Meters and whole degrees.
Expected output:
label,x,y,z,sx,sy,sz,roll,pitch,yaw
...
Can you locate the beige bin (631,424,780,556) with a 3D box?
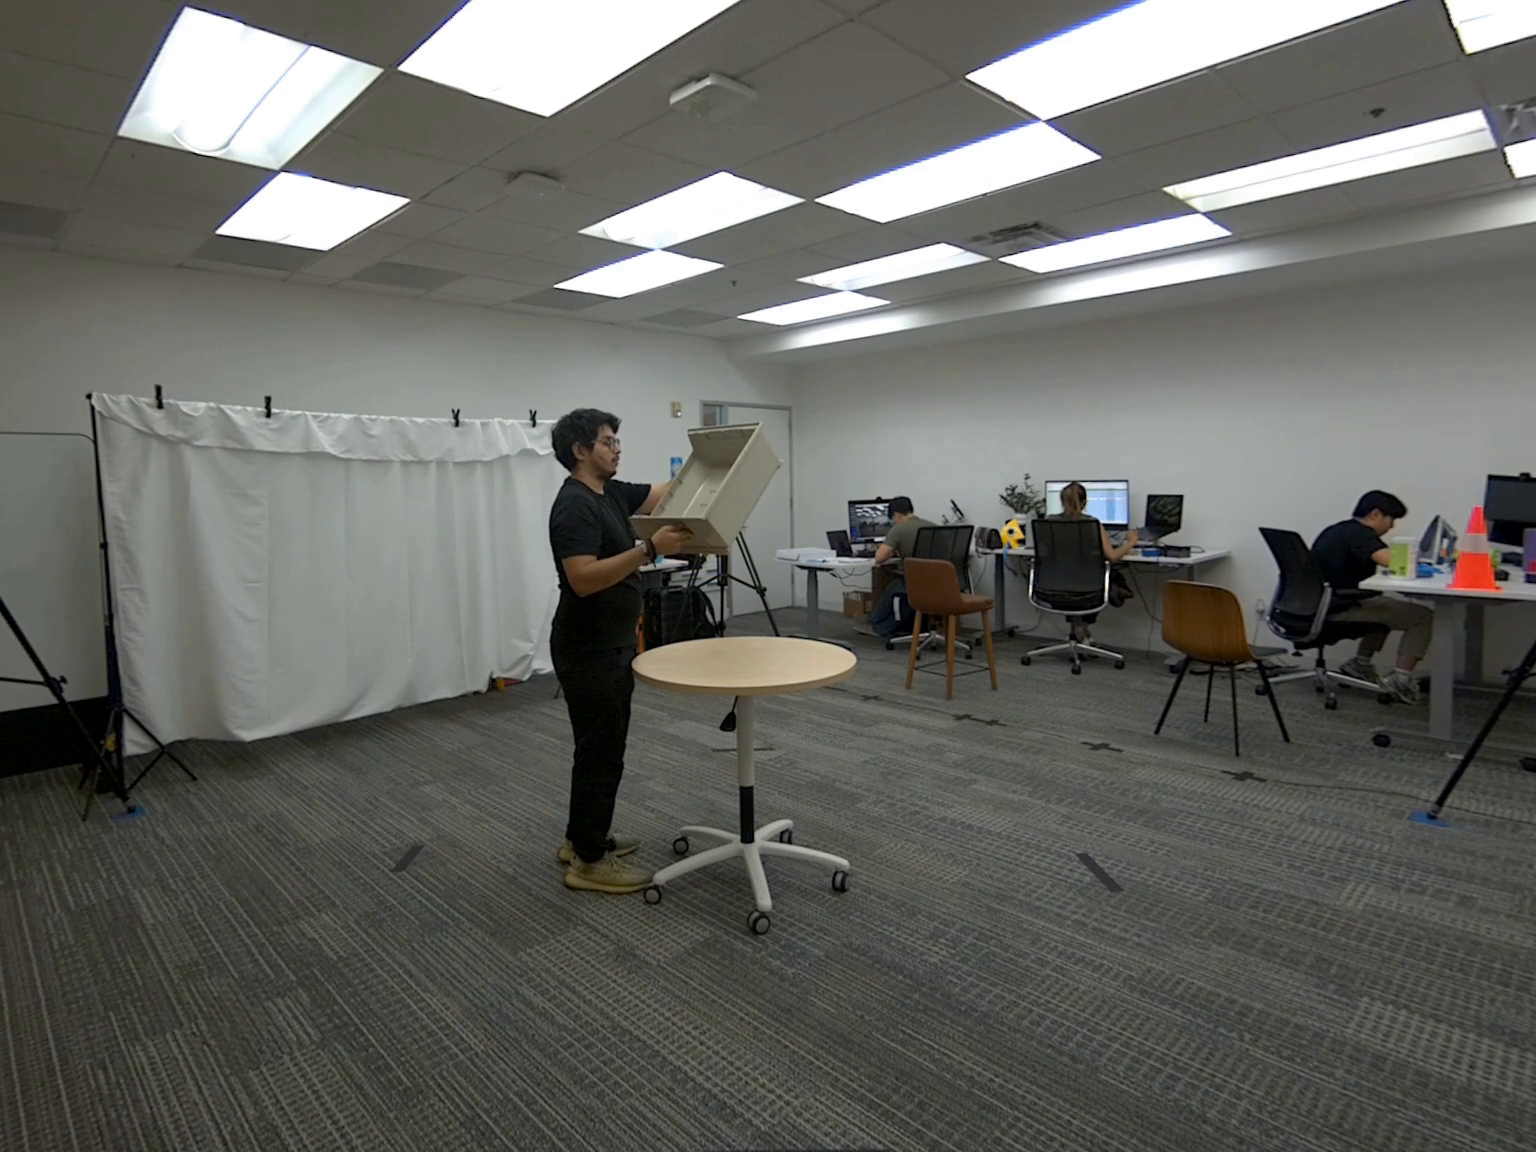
label,x,y,z,sx,sy,sz,roll,pitch,yaw
beige bin,-0.209,-0.287,2.844,0.388,0.425,0.182,2,-39,40
